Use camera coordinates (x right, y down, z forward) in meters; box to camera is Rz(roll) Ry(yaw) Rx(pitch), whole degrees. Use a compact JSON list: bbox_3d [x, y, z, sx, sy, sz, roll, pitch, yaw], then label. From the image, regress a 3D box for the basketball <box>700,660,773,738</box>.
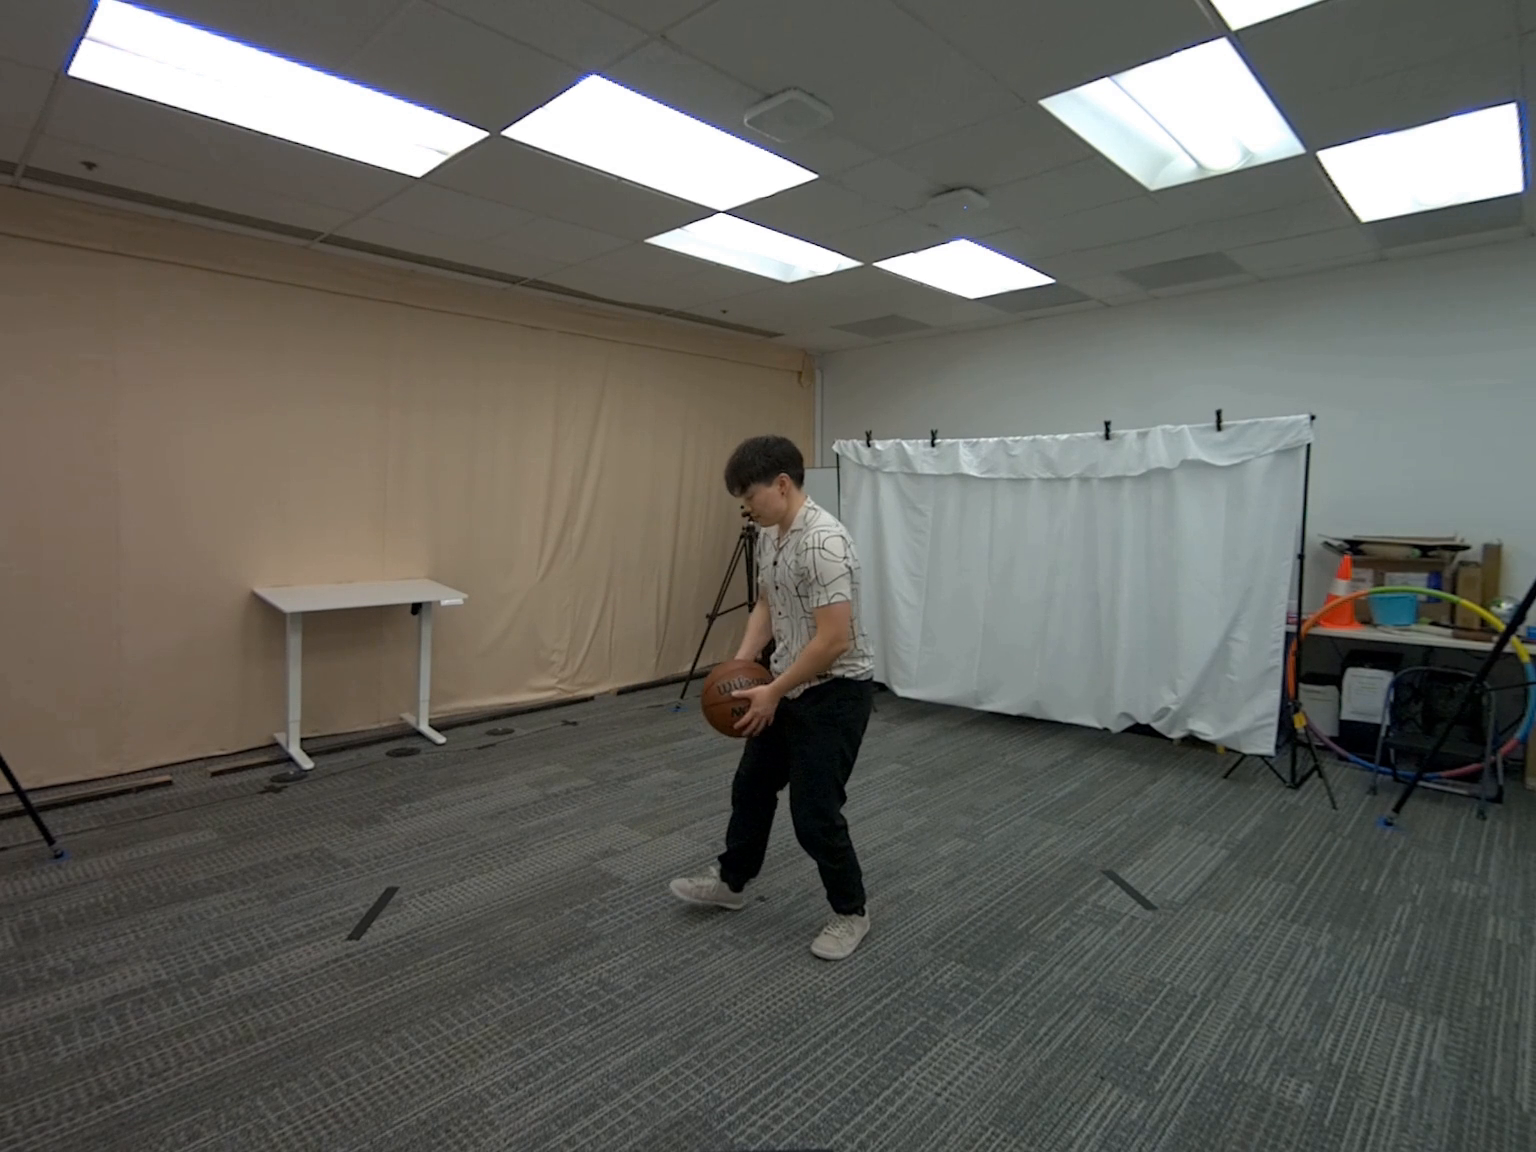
[{"bbox_3d":[-0.090,0.349,2.591,0.236,0.235,0.237,0,4,-2],"label":"basketball"}]
